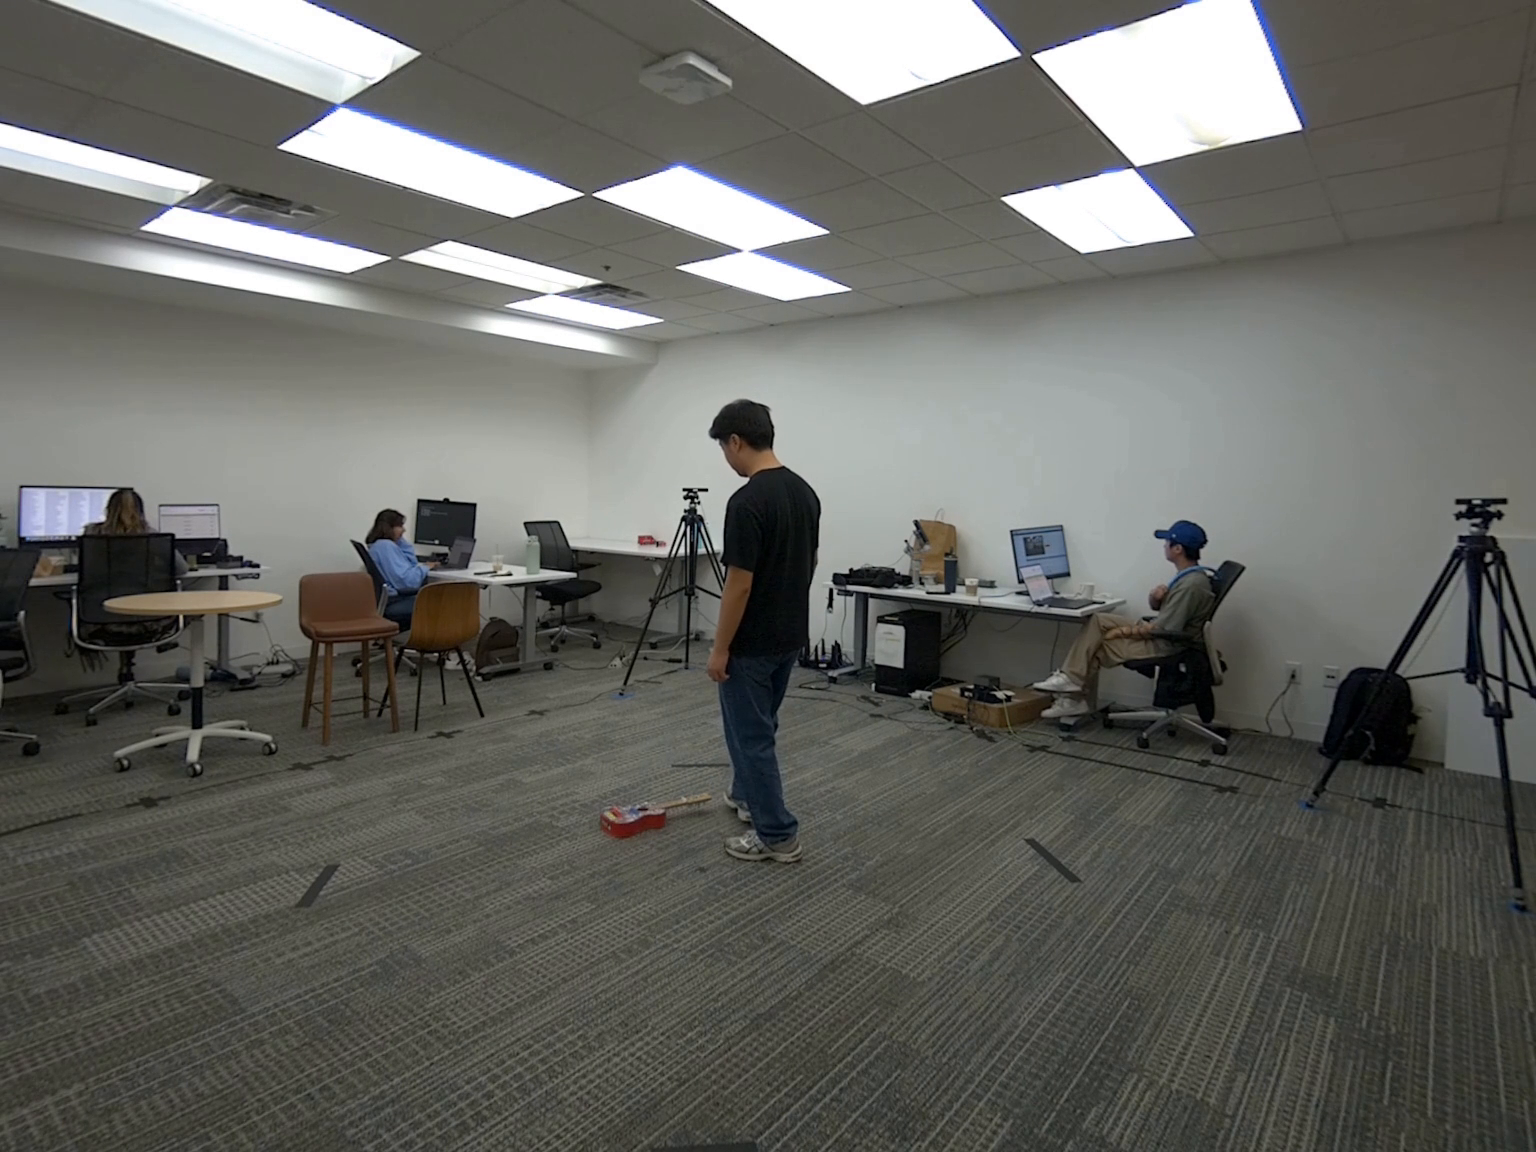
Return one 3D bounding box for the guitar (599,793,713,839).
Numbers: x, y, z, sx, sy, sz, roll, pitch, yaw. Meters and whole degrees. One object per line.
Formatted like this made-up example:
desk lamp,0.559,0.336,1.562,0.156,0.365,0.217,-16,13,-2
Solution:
guitar,-0.456,0.990,3.538,0.487,0.070,0.198,-2,5,-23
